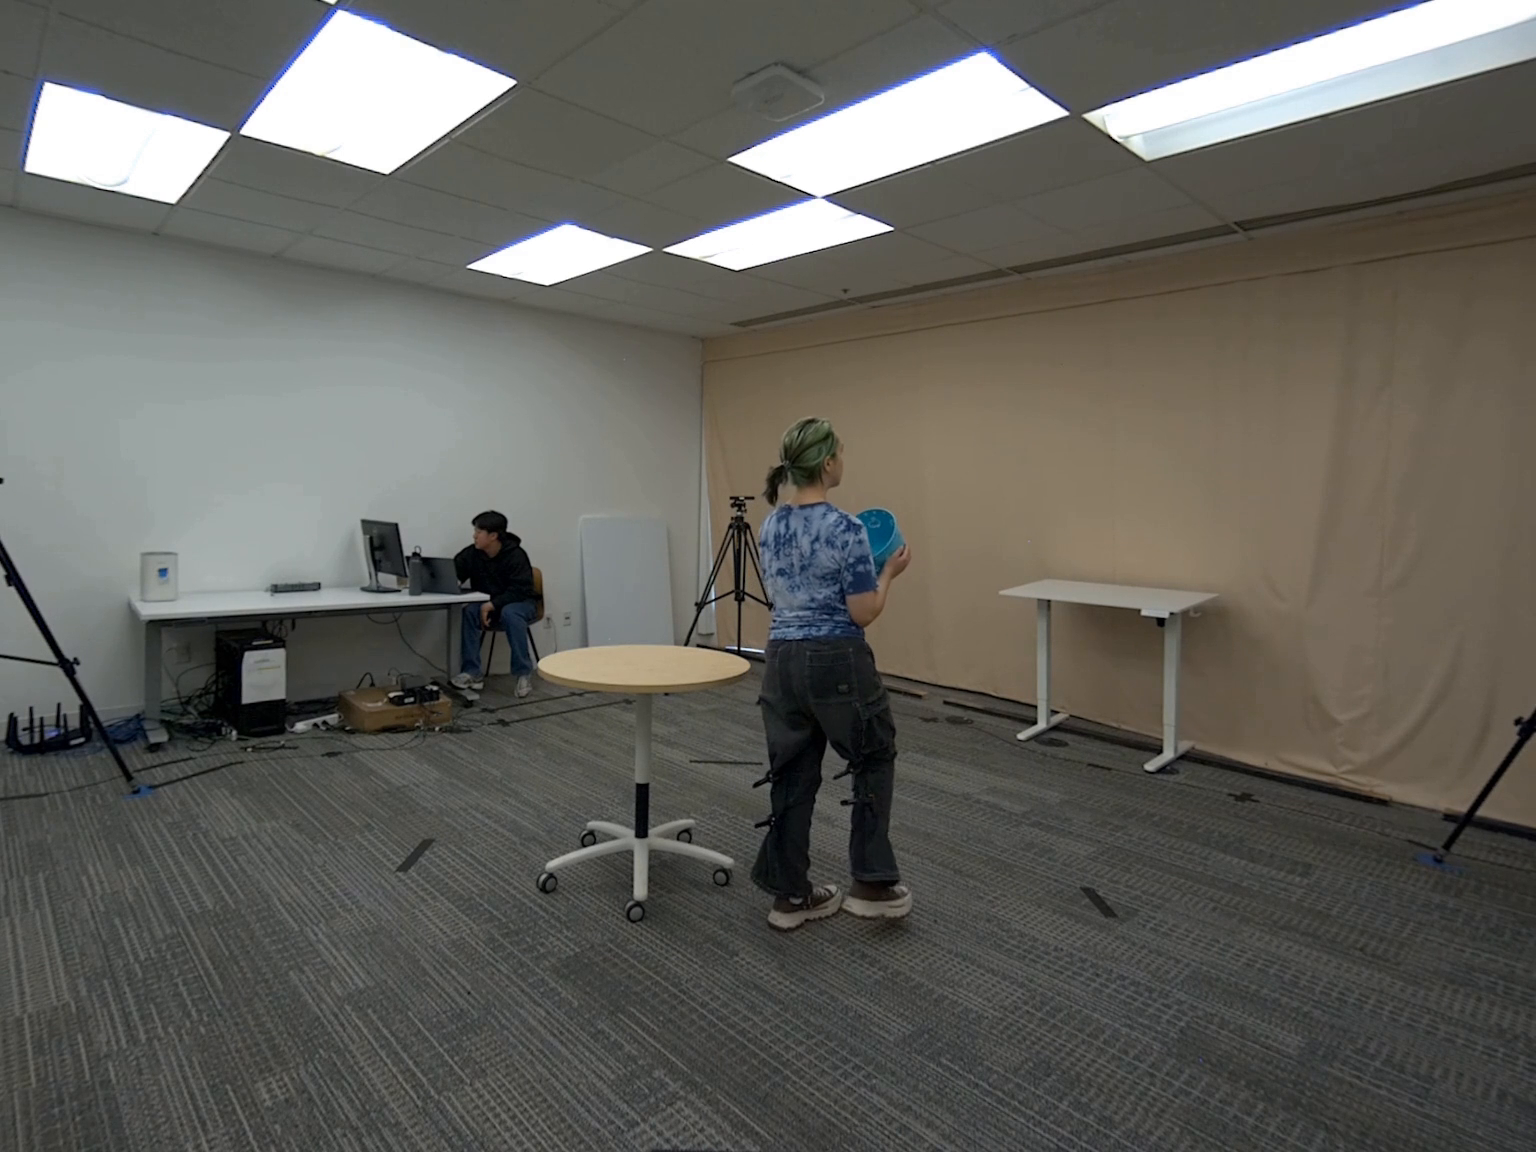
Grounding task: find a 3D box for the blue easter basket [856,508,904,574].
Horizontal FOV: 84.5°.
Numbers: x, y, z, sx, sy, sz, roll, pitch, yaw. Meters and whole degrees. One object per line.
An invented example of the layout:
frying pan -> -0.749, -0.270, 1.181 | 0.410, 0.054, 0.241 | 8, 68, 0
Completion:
blue easter basket -> 0.363, -0.098, 2.876 | 0.250, 0.245, 0.151 | 6, -30, 47
